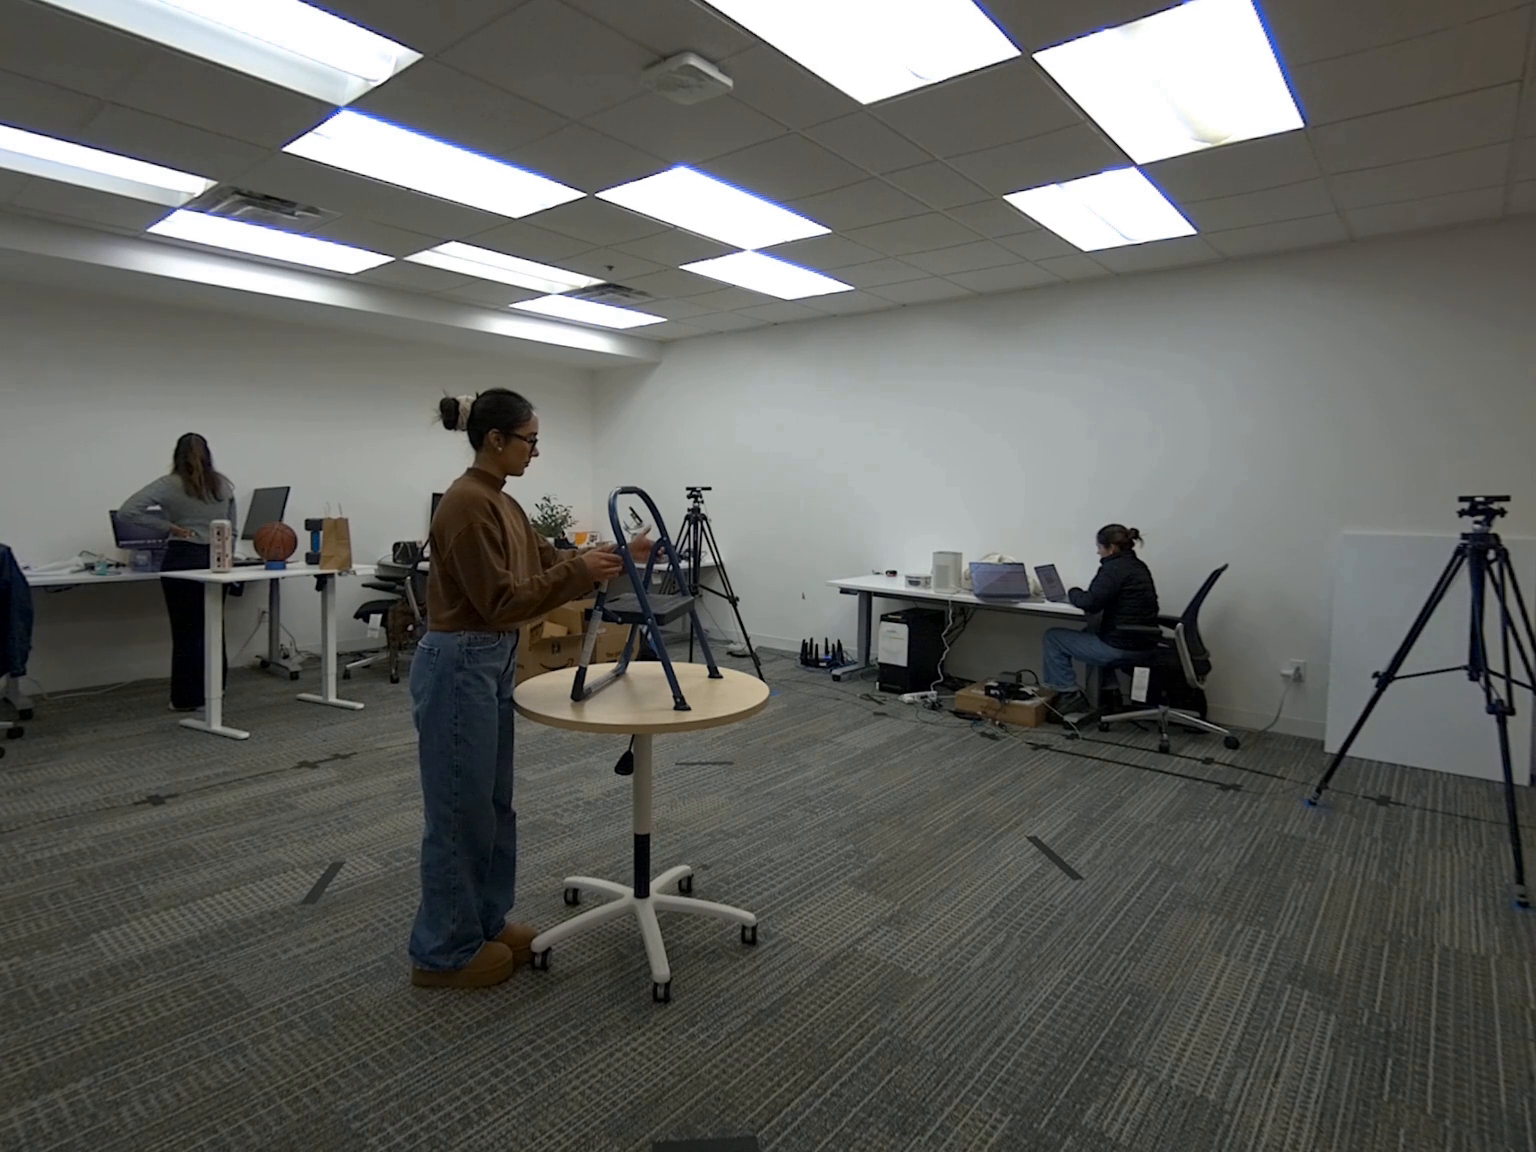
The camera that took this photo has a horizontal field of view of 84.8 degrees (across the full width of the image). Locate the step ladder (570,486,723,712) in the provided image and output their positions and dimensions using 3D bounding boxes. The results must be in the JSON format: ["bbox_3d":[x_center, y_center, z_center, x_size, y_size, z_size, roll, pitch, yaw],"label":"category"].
[{"bbox_3d":[-0.364,0.041,2.537,0.354,0.603,0.426,2,5,12],"label":"step ladder"}]
